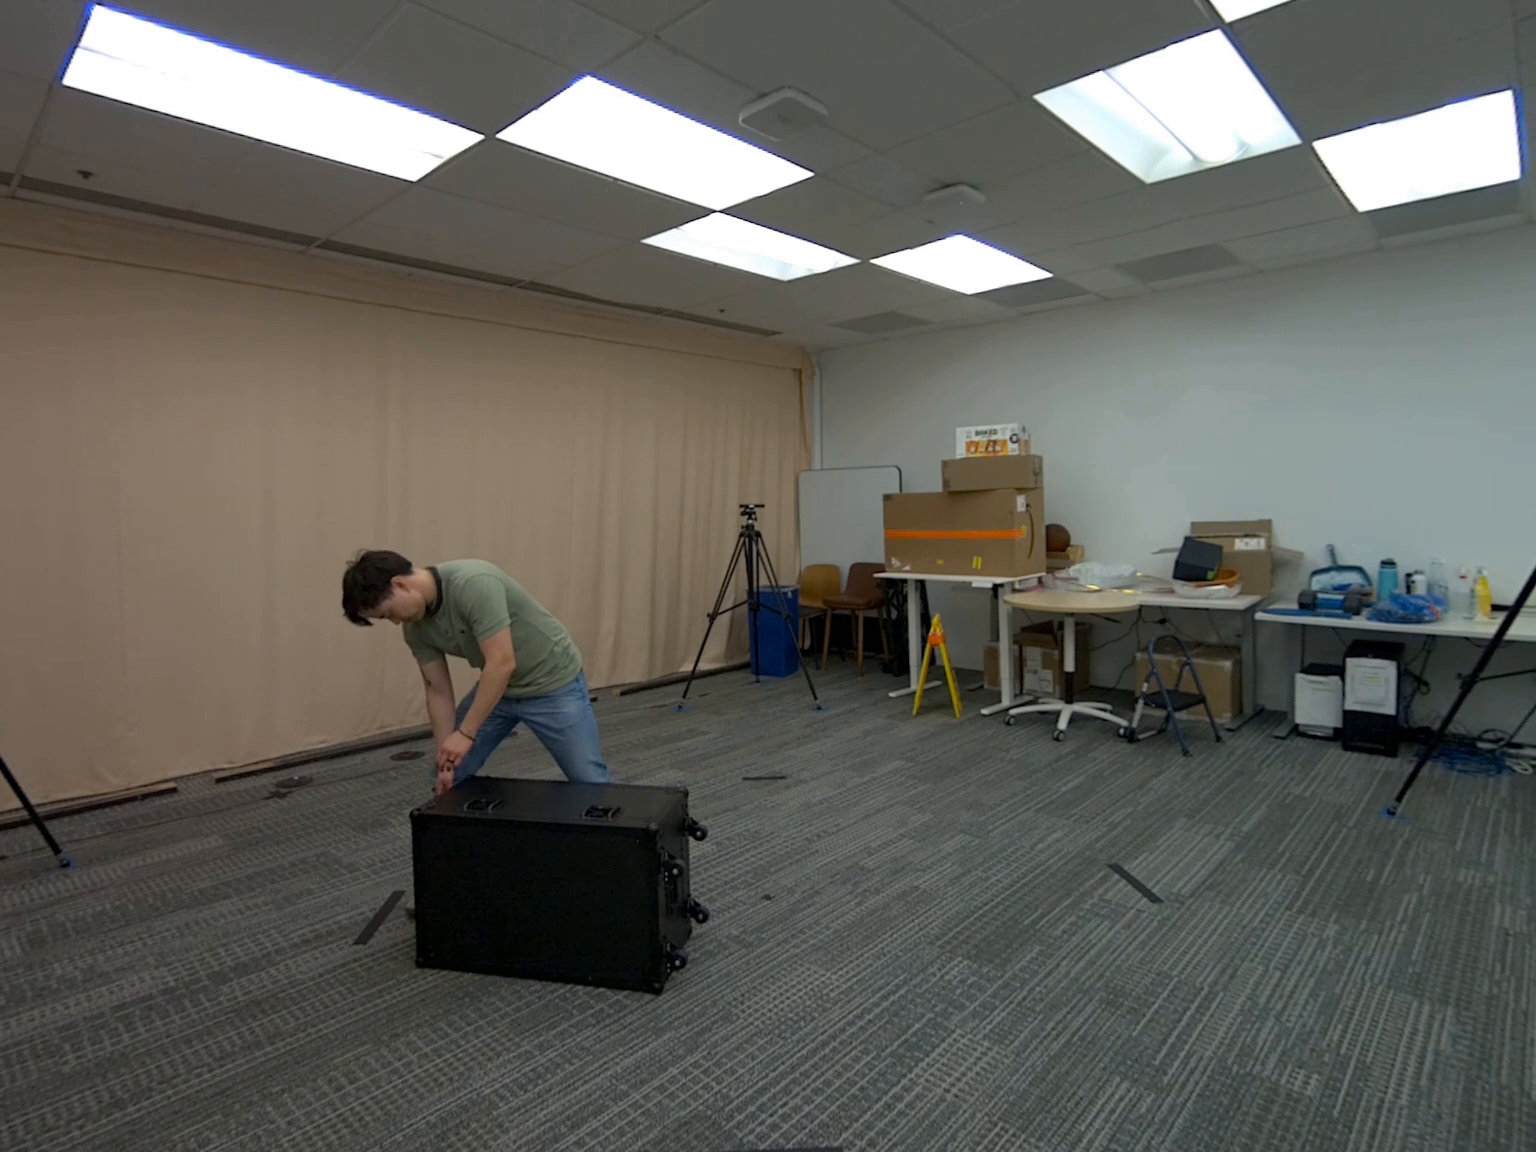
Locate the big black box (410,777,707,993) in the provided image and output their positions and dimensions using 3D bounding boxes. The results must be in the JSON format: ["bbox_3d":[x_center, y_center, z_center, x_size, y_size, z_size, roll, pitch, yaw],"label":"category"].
[{"bbox_3d":[-0.689,0.931,2.659,0.873,0.520,0.392,0,3,12],"label":"big black box"}]
